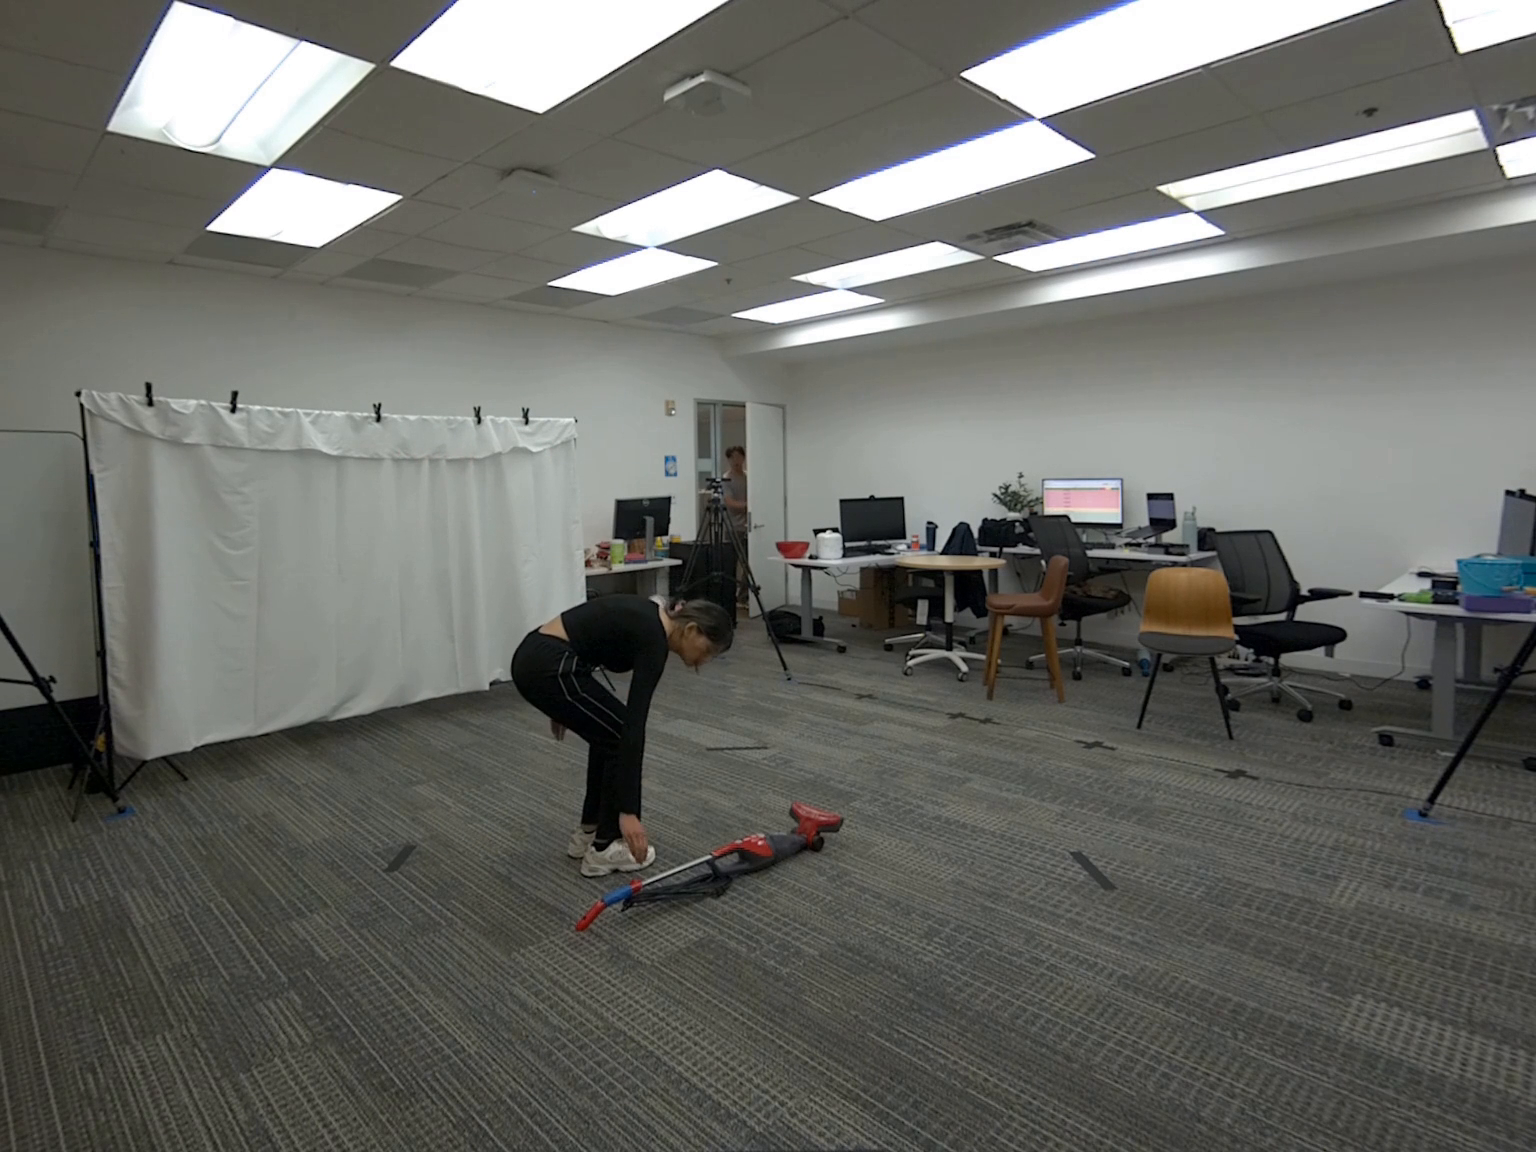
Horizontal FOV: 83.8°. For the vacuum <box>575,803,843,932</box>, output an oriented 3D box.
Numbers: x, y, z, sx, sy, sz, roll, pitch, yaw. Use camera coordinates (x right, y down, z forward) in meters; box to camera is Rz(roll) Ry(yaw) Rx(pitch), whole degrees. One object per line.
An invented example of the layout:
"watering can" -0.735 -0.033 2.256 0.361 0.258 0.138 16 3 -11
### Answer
"vacuum" -0.194 1.006 2.915 1.023 0.144 0.259 -9 4 -43
